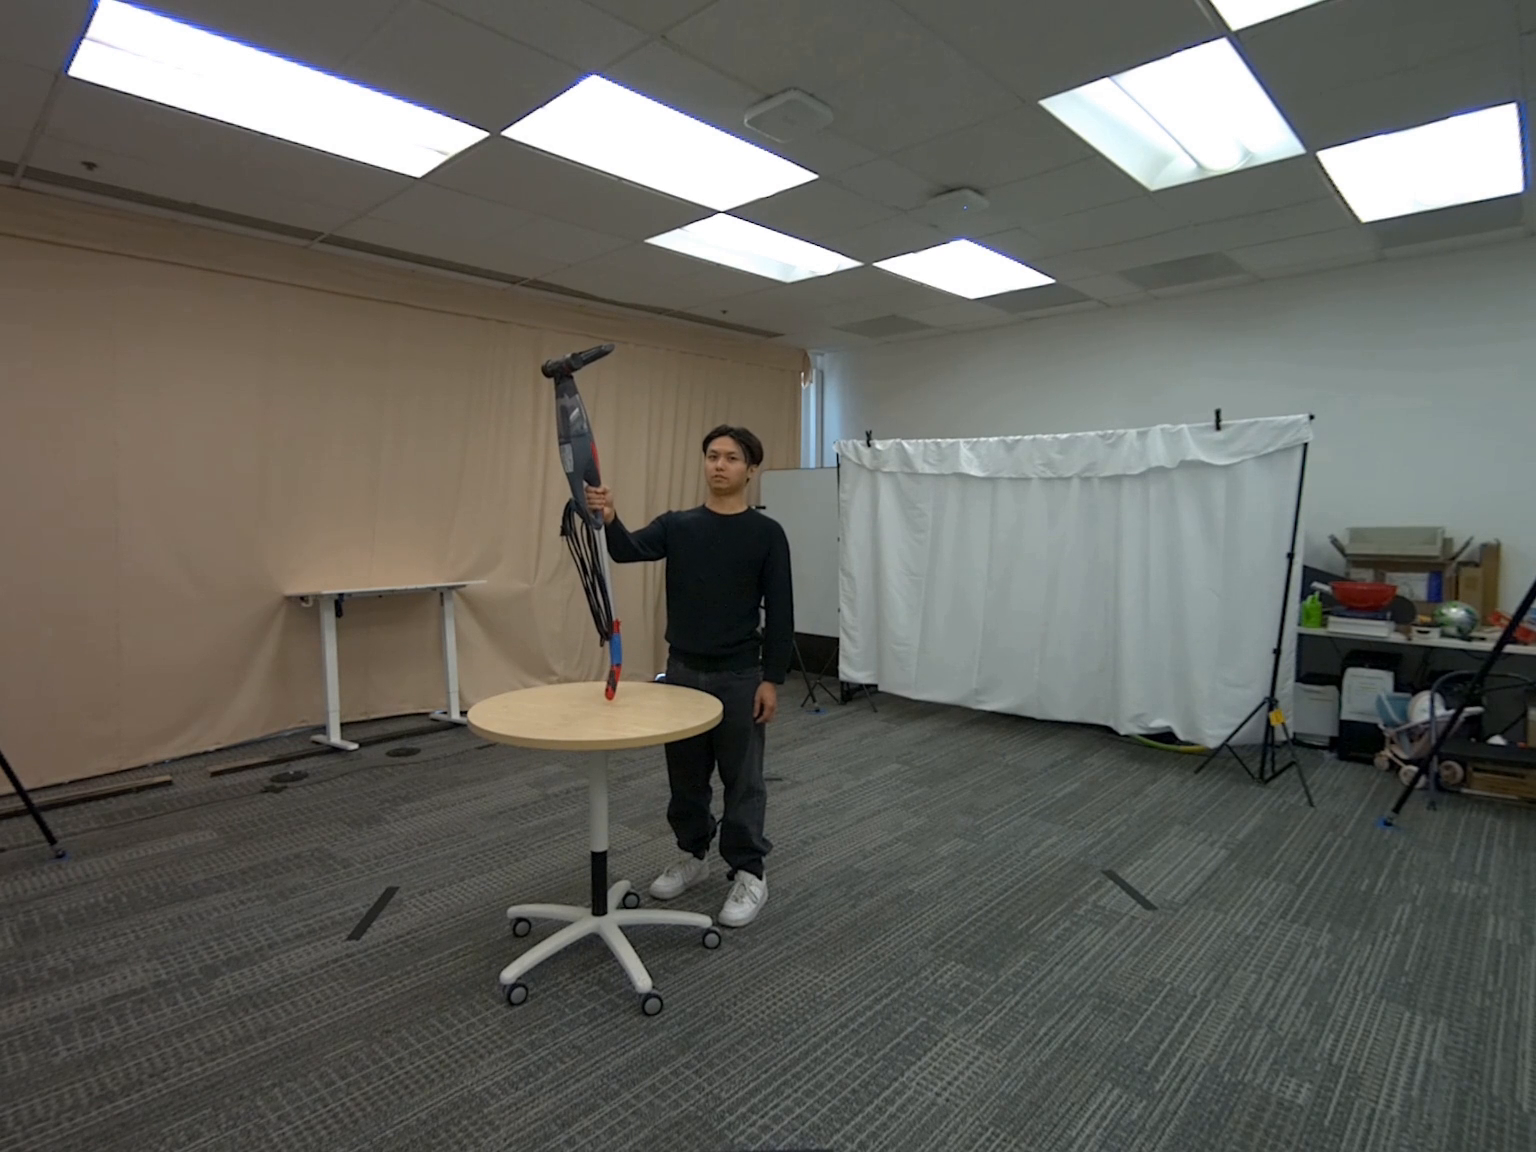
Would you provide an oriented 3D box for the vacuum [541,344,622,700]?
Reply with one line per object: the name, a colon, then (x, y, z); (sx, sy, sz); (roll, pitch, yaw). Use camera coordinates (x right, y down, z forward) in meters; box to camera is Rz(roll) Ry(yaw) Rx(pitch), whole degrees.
vacuum: (-0.547, -0.147, 2.552); (0.260, 1.049, 0.140); (-5, 1, 40)
